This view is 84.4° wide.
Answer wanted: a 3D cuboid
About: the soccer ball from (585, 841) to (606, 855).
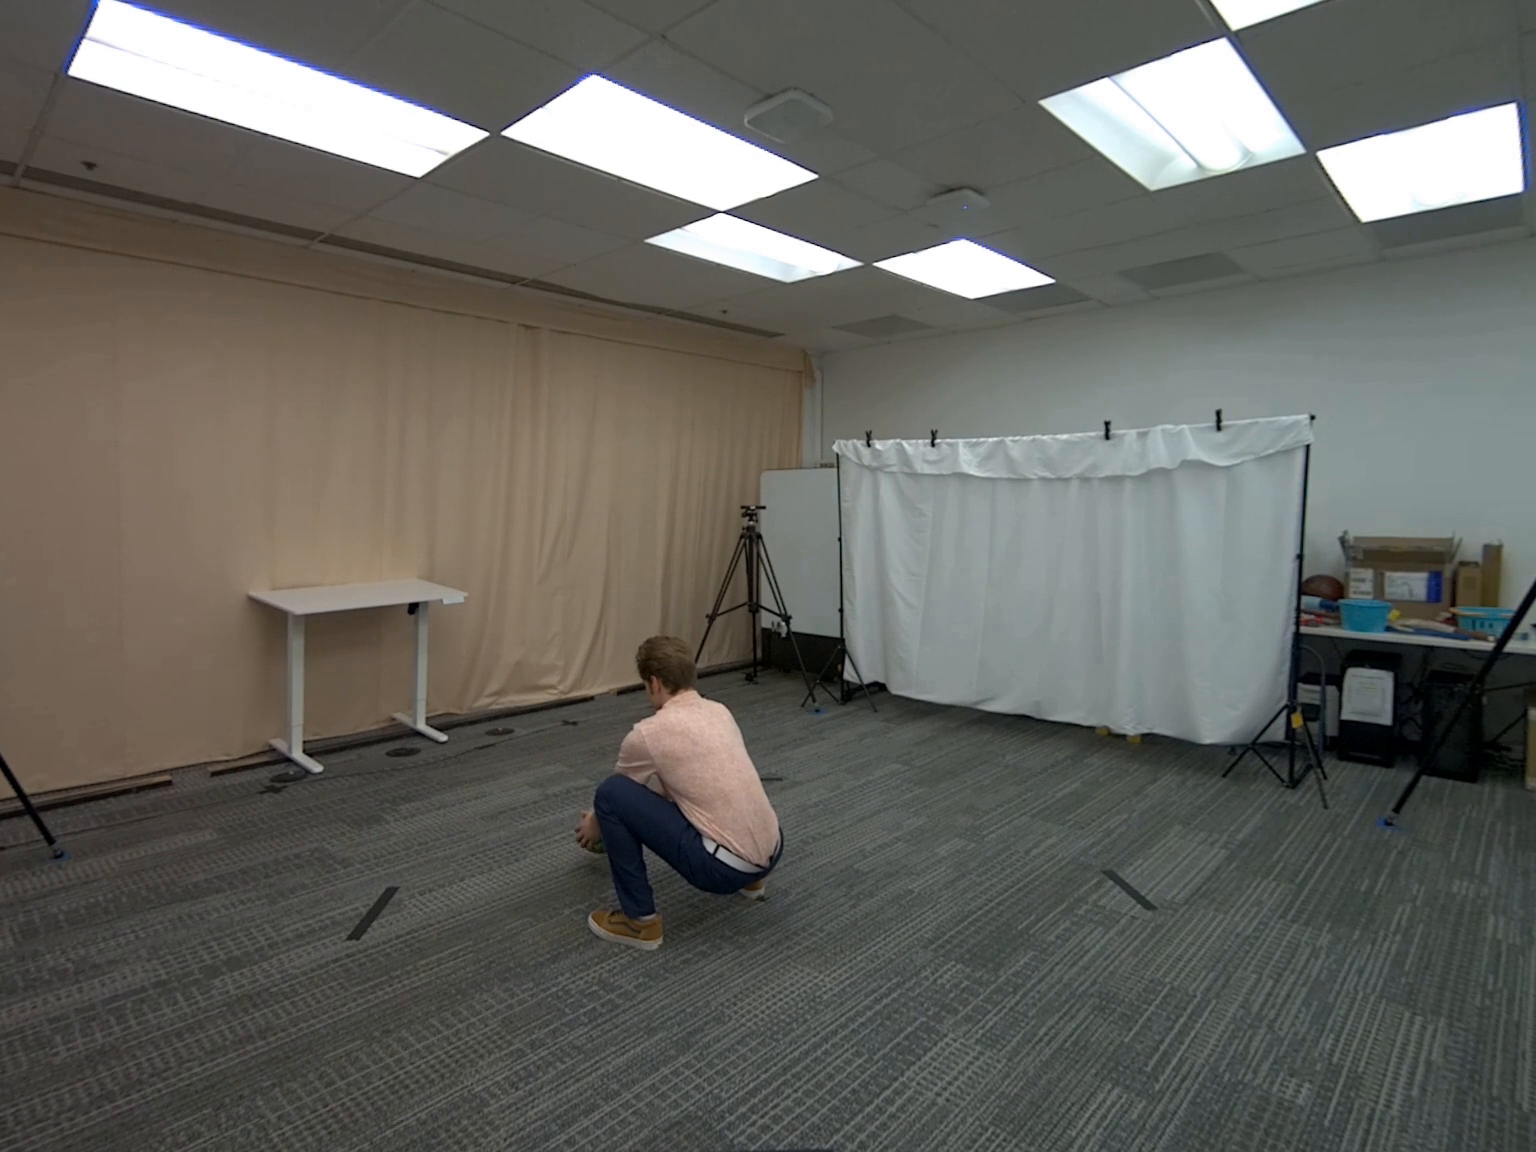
[{"bbox_3d":[-0.651,0.972,3.260,0.187,0.187,0.188,0,4,-2],"label":"soccer ball"}]
